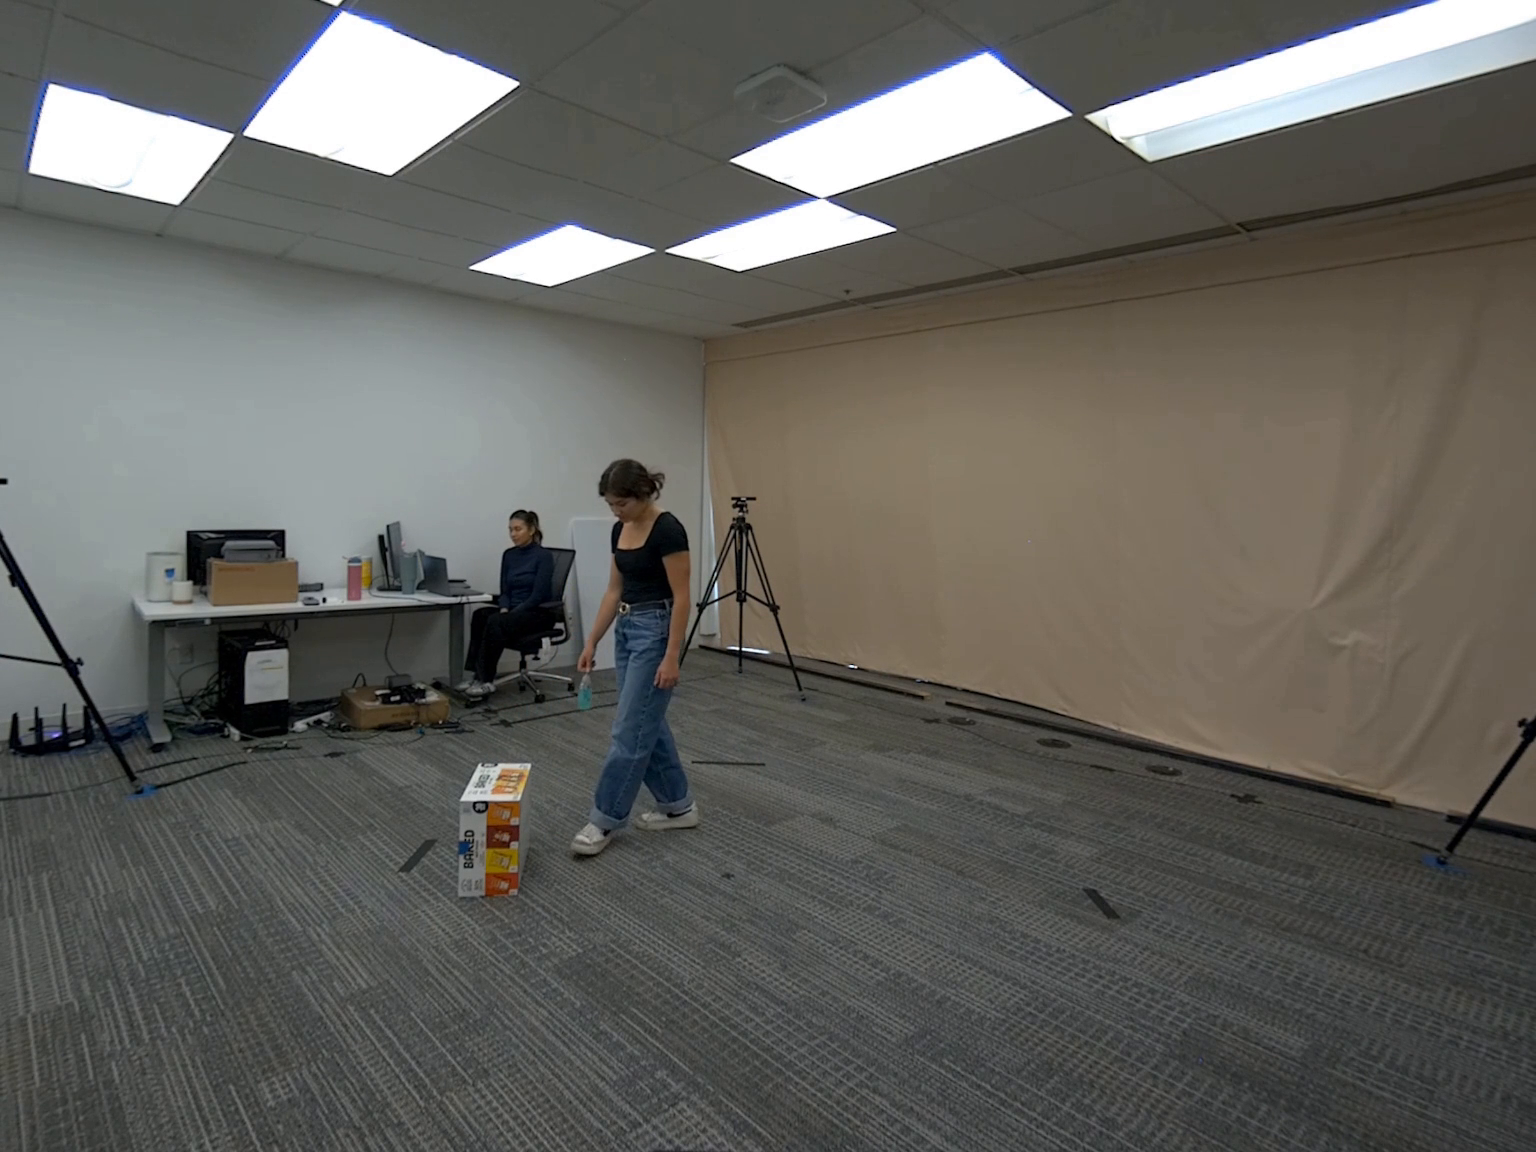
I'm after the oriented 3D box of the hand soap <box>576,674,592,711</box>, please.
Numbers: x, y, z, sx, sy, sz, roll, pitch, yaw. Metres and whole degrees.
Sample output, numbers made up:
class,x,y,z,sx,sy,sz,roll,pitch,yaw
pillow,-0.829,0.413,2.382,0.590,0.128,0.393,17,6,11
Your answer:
class,x,y,z,sx,sy,sz,roll,pitch,yaw
hand soap,-0.752,0.457,3.458,0.044,0.168,0.083,6,0,15
